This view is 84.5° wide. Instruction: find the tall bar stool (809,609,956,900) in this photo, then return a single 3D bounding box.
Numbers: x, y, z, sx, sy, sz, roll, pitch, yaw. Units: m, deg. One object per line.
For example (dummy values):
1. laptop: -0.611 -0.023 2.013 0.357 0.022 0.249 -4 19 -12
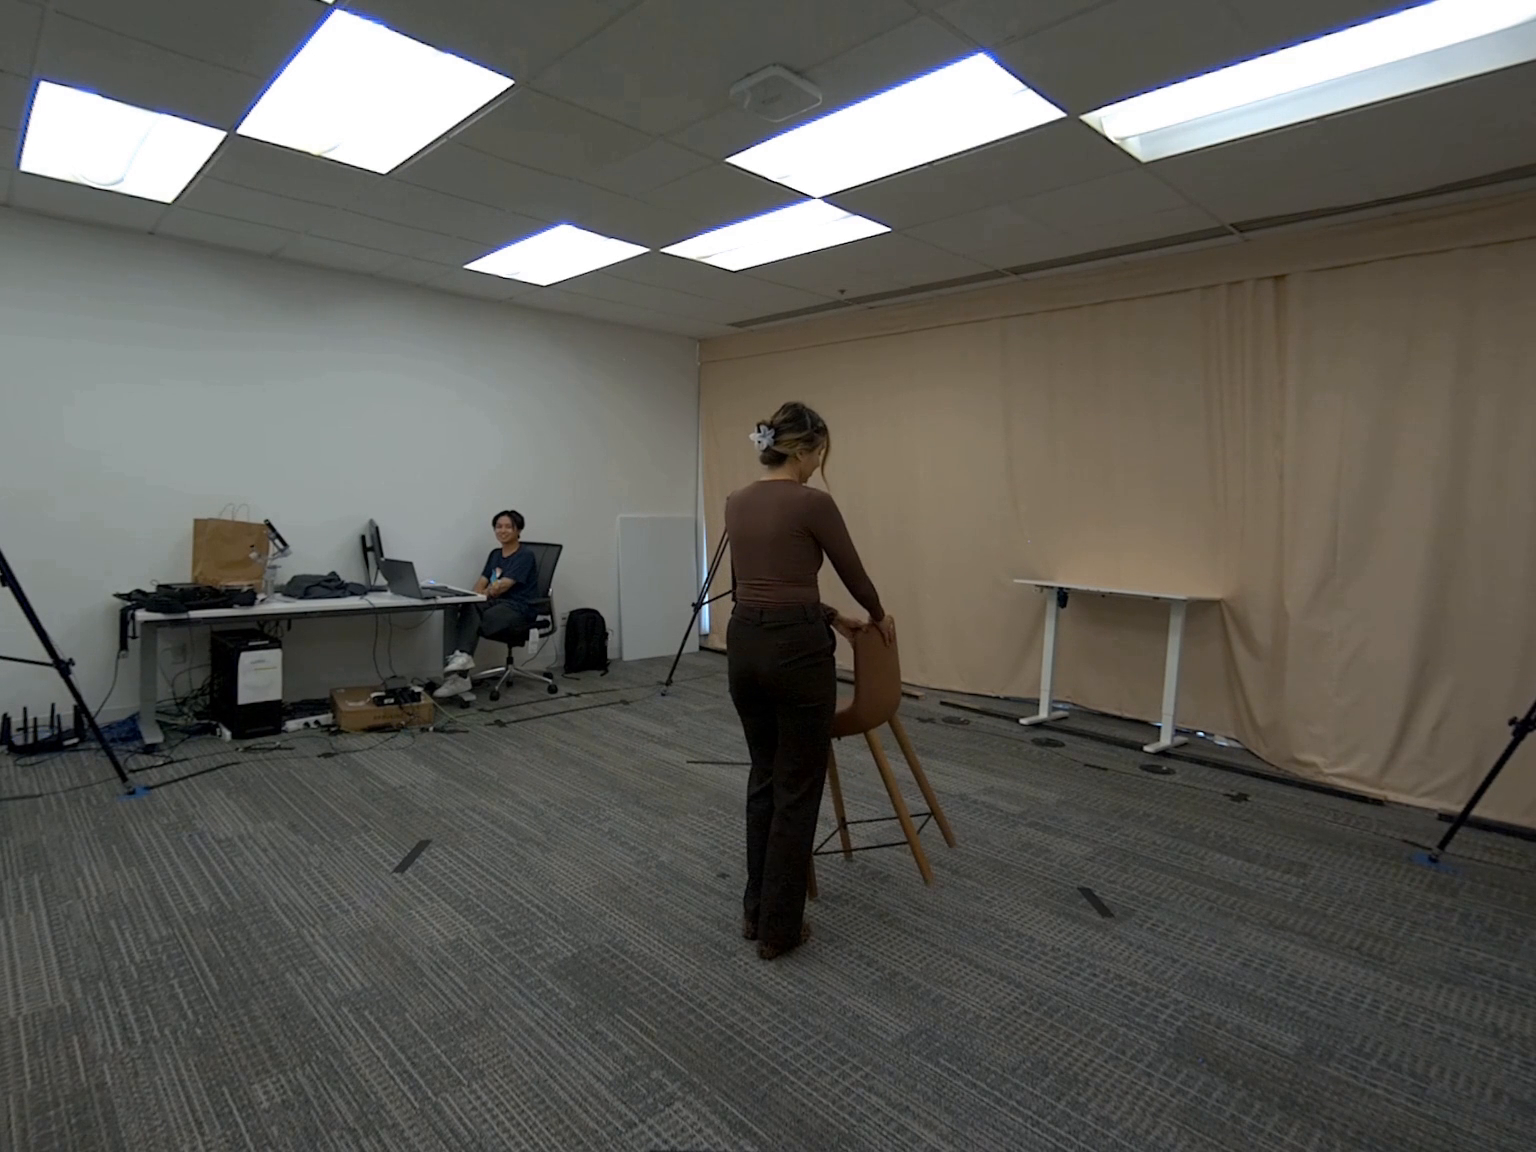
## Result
1. tall bar stool: 0.309 0.638 3.053 0.474 0.893 0.448 -15 -4 26
